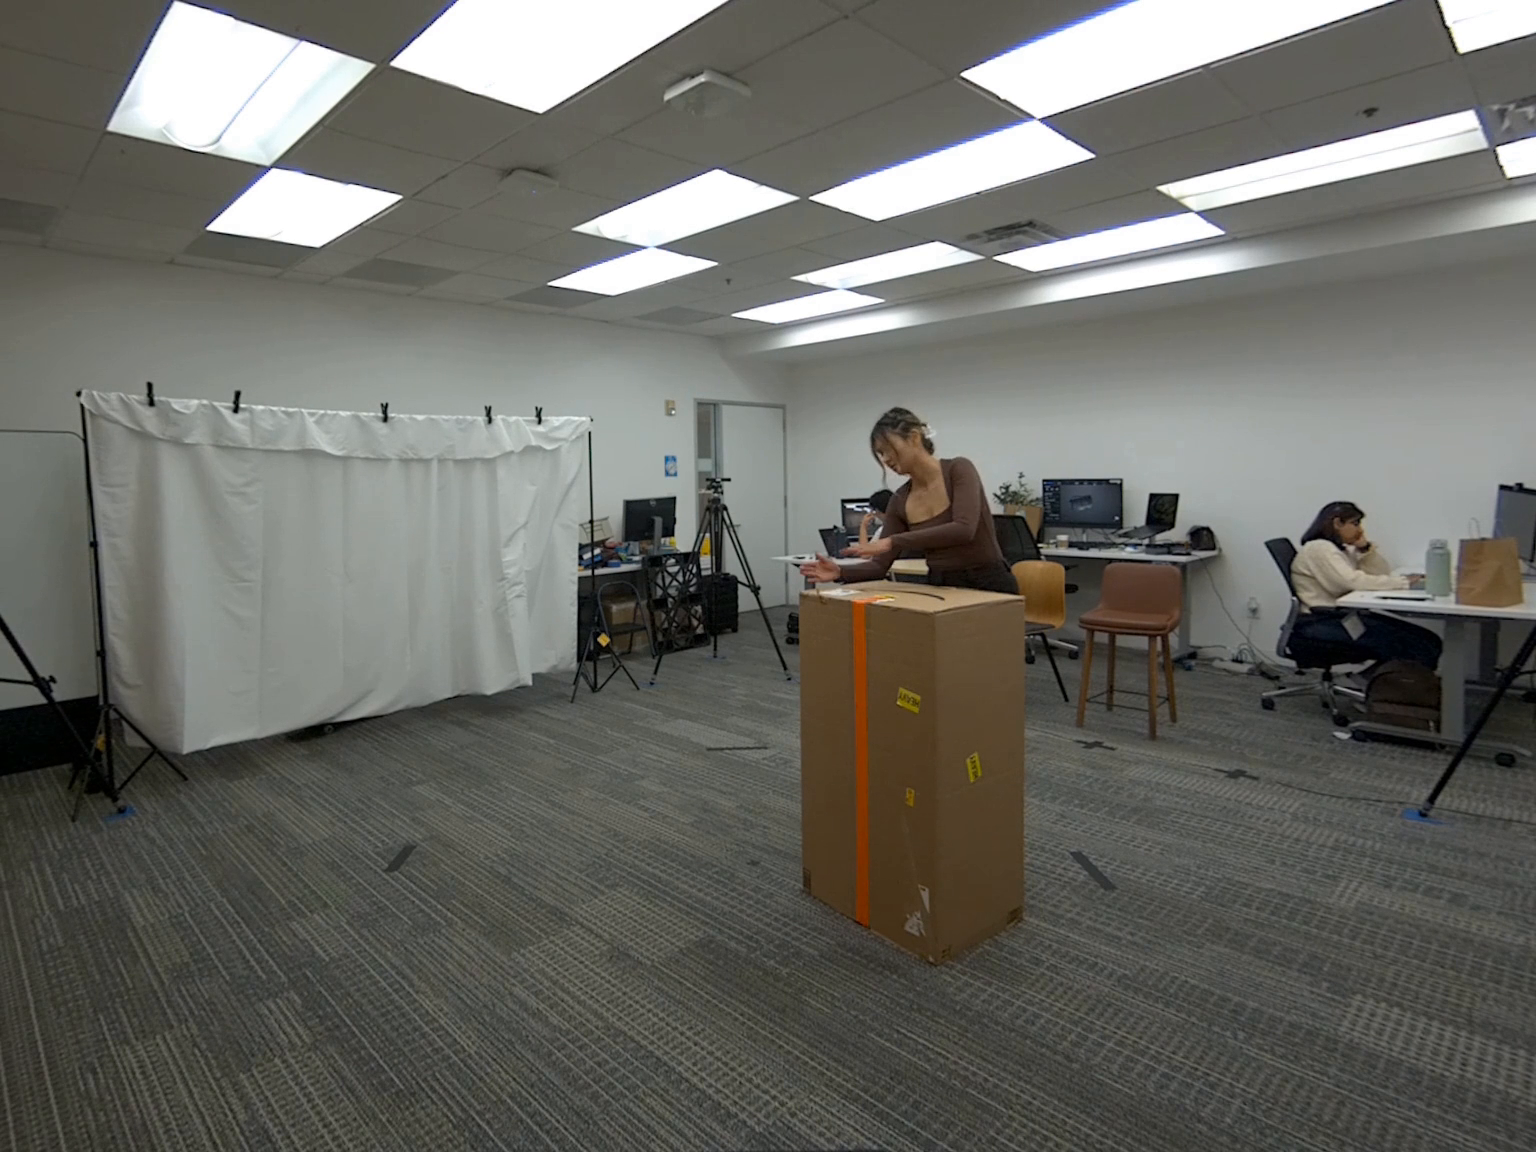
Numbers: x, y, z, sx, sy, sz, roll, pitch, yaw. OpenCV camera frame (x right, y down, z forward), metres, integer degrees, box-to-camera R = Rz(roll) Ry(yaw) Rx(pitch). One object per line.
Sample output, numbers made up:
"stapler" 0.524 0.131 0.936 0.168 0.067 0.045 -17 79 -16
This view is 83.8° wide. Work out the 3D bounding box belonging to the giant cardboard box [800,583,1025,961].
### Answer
"giant cardboard box" 0.452 0.565 2.745 0.435 1.023 0.601 -5 5 -36
